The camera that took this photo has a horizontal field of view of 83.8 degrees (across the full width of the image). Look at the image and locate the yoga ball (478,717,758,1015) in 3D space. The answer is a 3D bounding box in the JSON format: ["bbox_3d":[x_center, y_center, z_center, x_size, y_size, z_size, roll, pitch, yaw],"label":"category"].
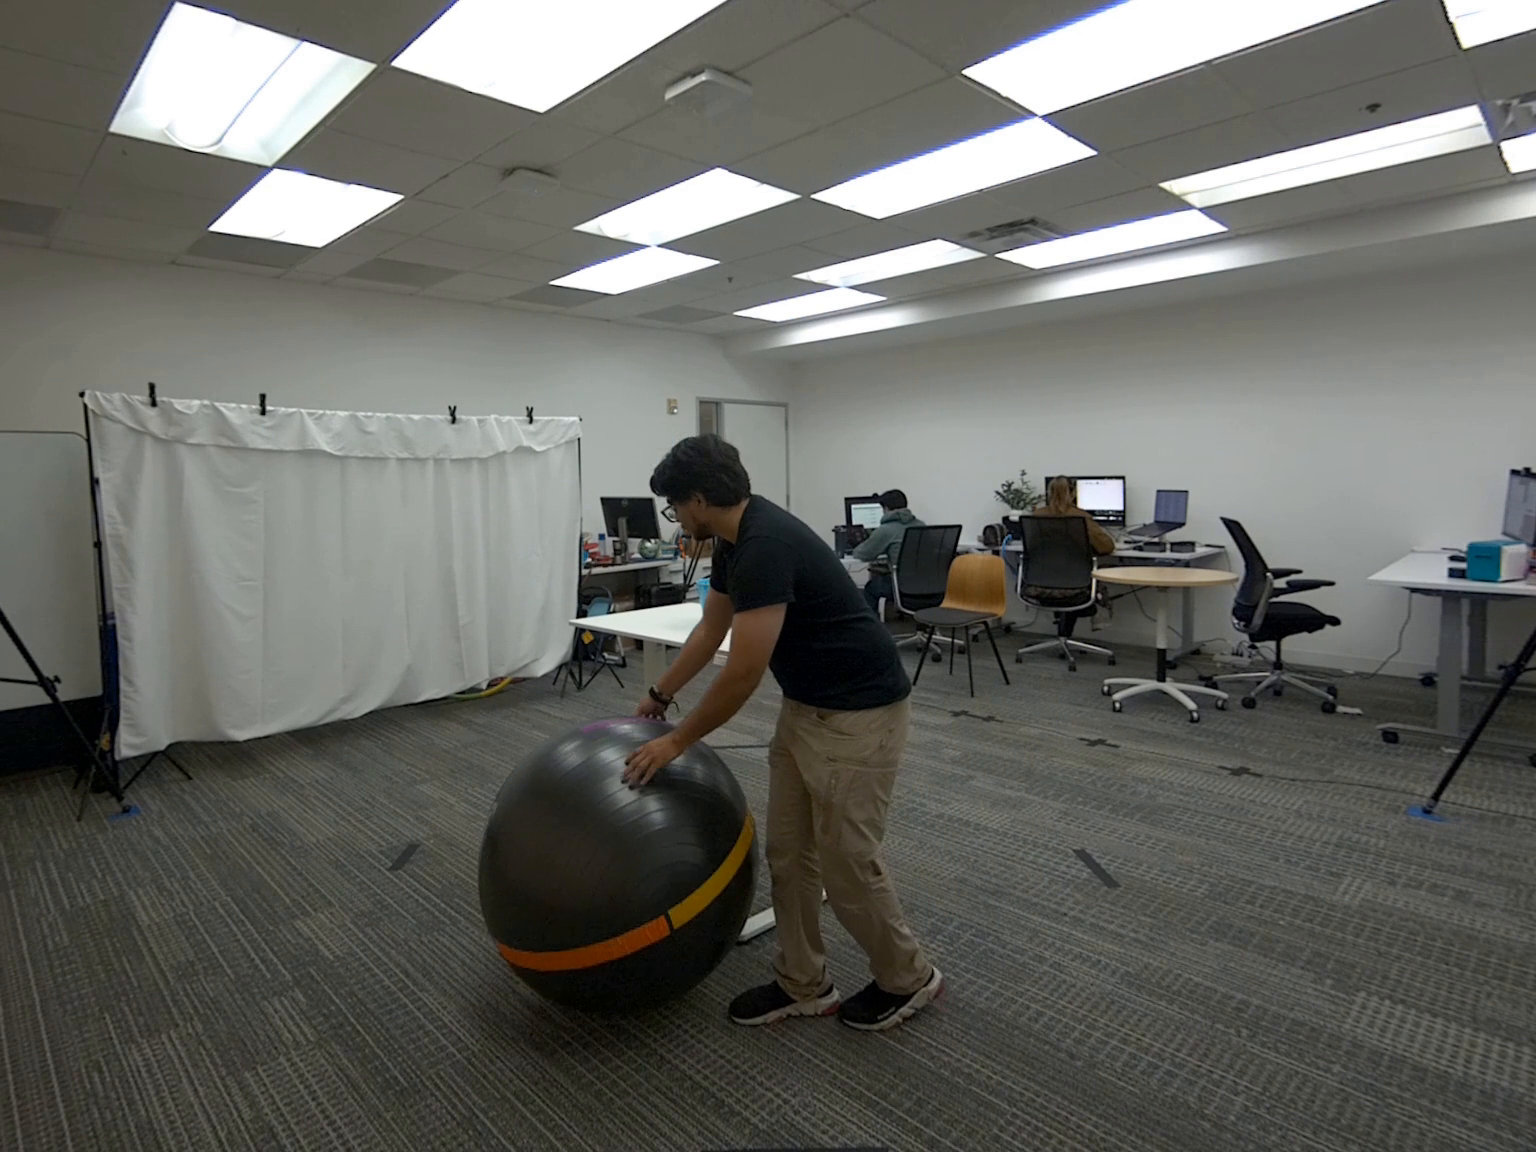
[{"bbox_3d":[-0.397,0.773,2.333,0.757,0.755,0.762,-1,5,-2],"label":"yoga ball"}]
